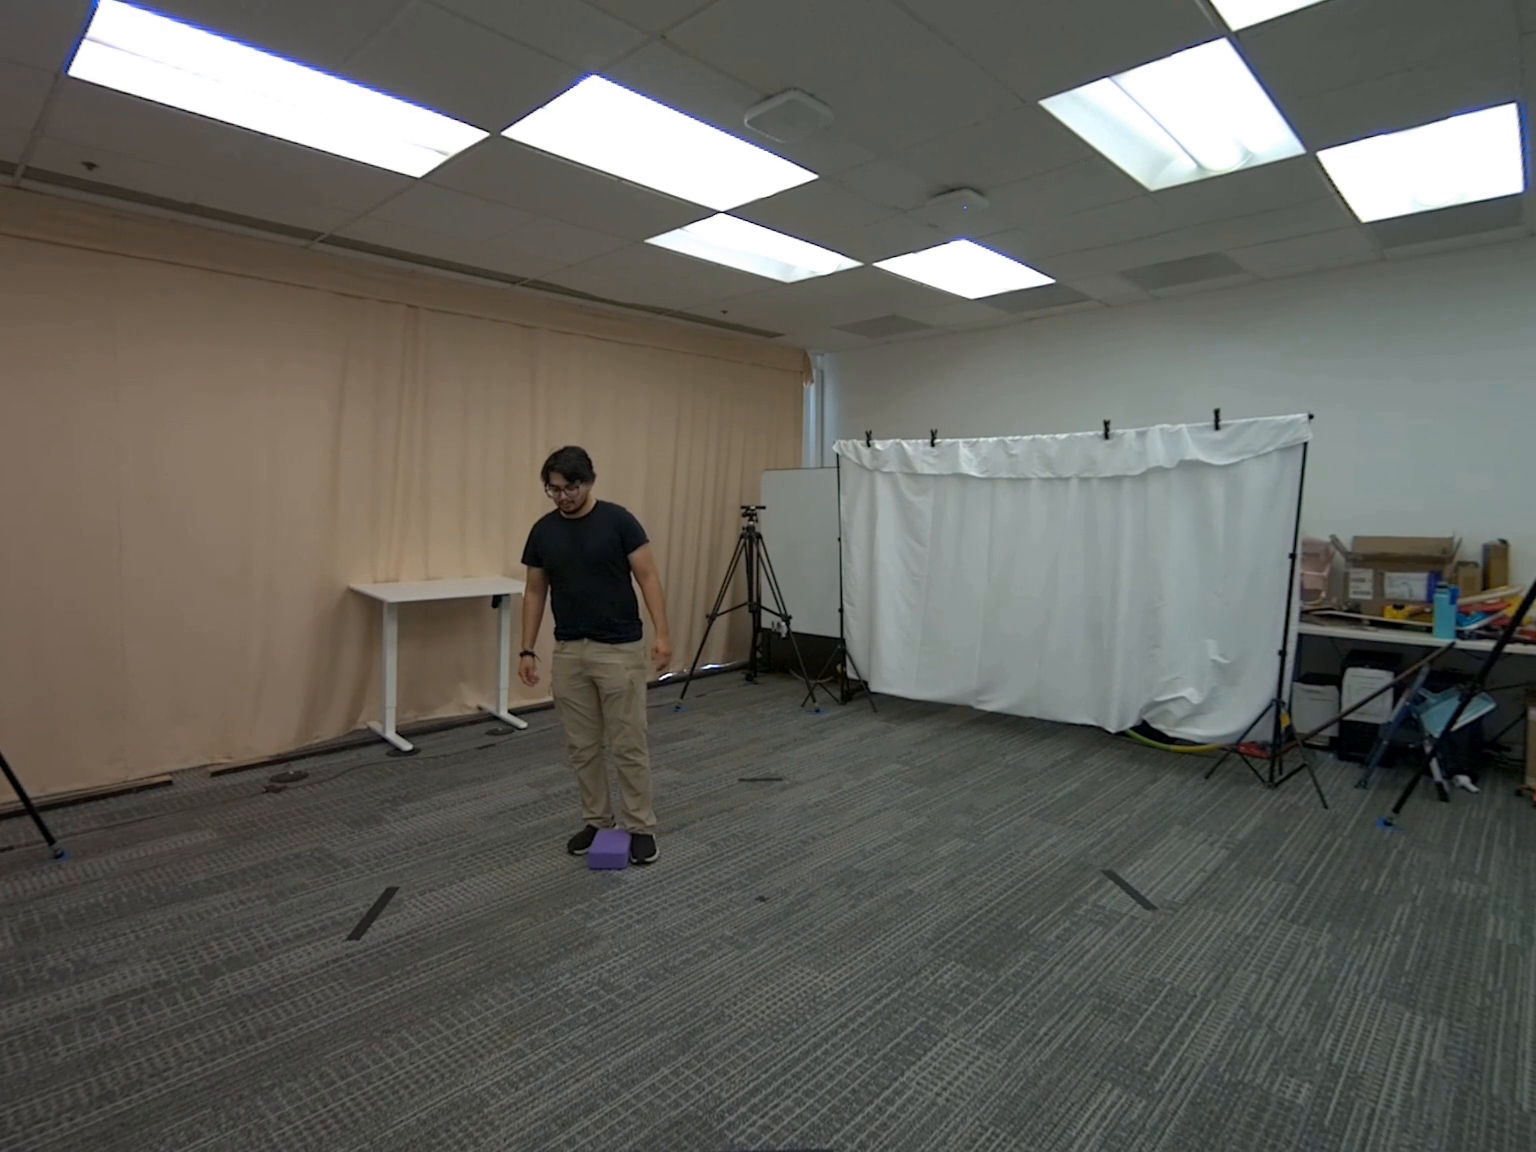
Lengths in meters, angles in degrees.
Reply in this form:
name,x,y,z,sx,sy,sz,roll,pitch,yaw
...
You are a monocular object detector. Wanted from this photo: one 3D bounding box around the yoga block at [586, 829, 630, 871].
name,x,y,z,sx,sy,sz,roll,pitch,yaw
yoga block,-0.626,1.075,3.342,0.149,0.076,0.230,2,4,-2
